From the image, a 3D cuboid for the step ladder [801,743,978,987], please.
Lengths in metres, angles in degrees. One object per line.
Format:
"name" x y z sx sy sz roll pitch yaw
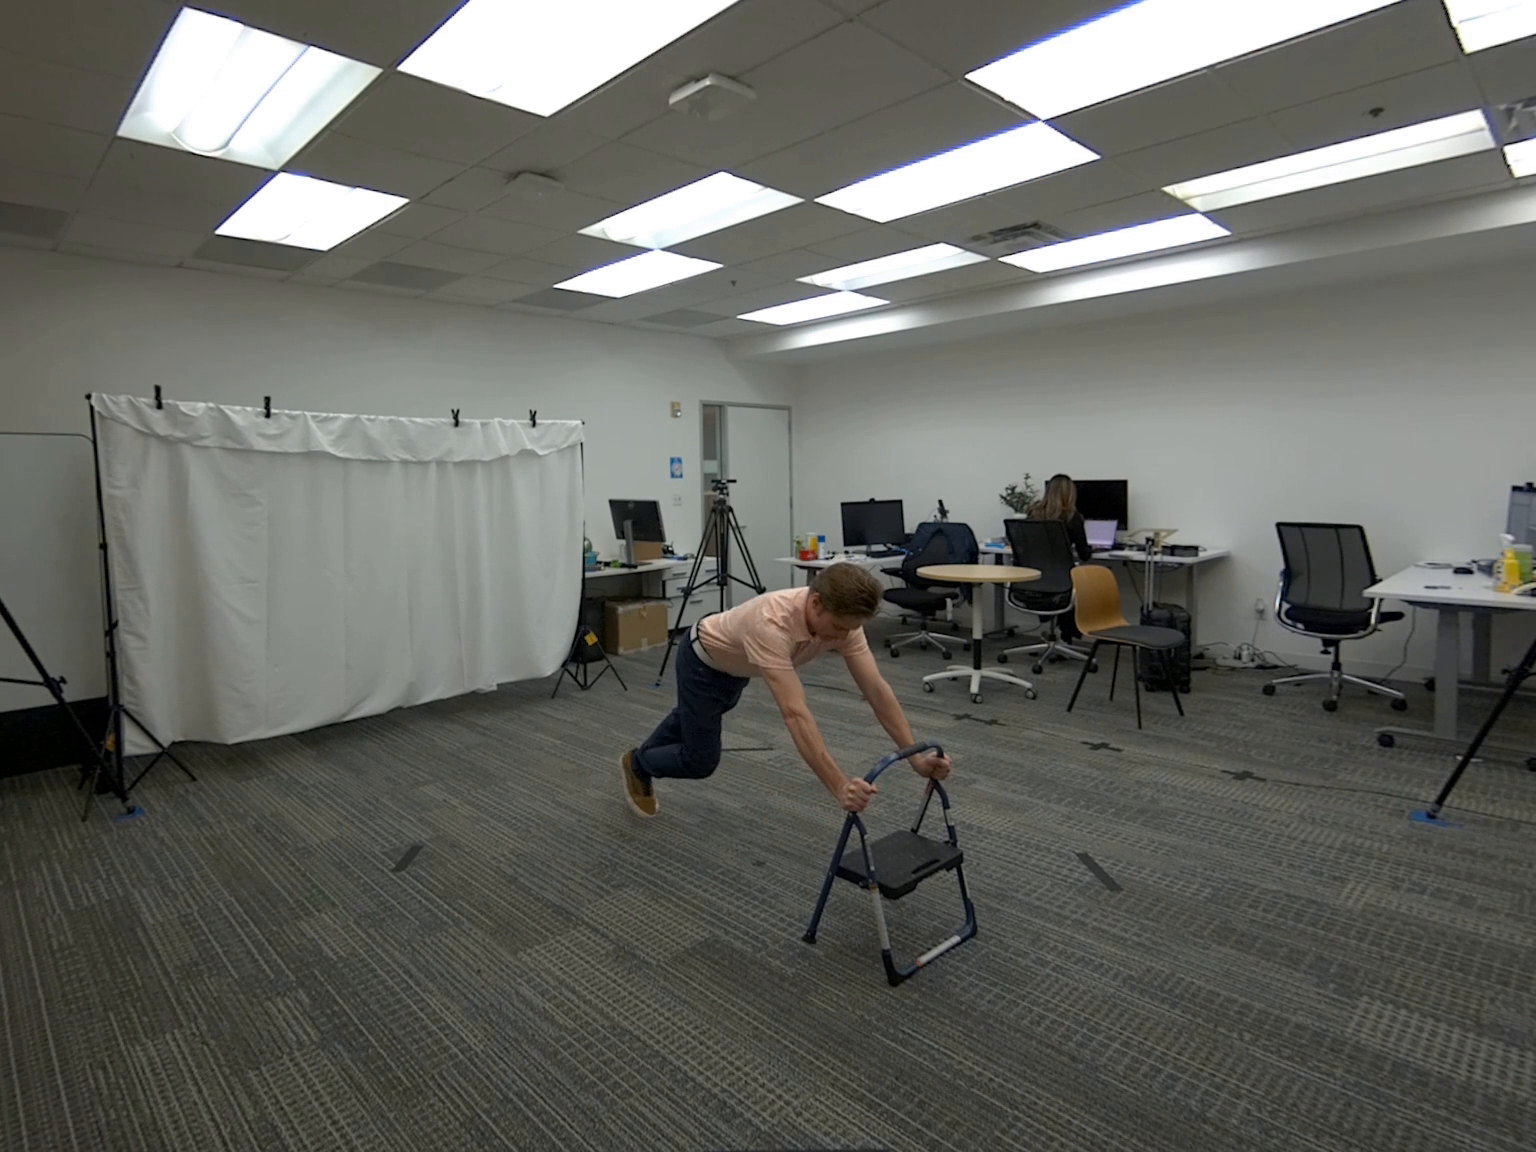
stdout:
"step ladder" 0.374 0.799 2.581 0.419 0.603 0.360 -6 7 -43
